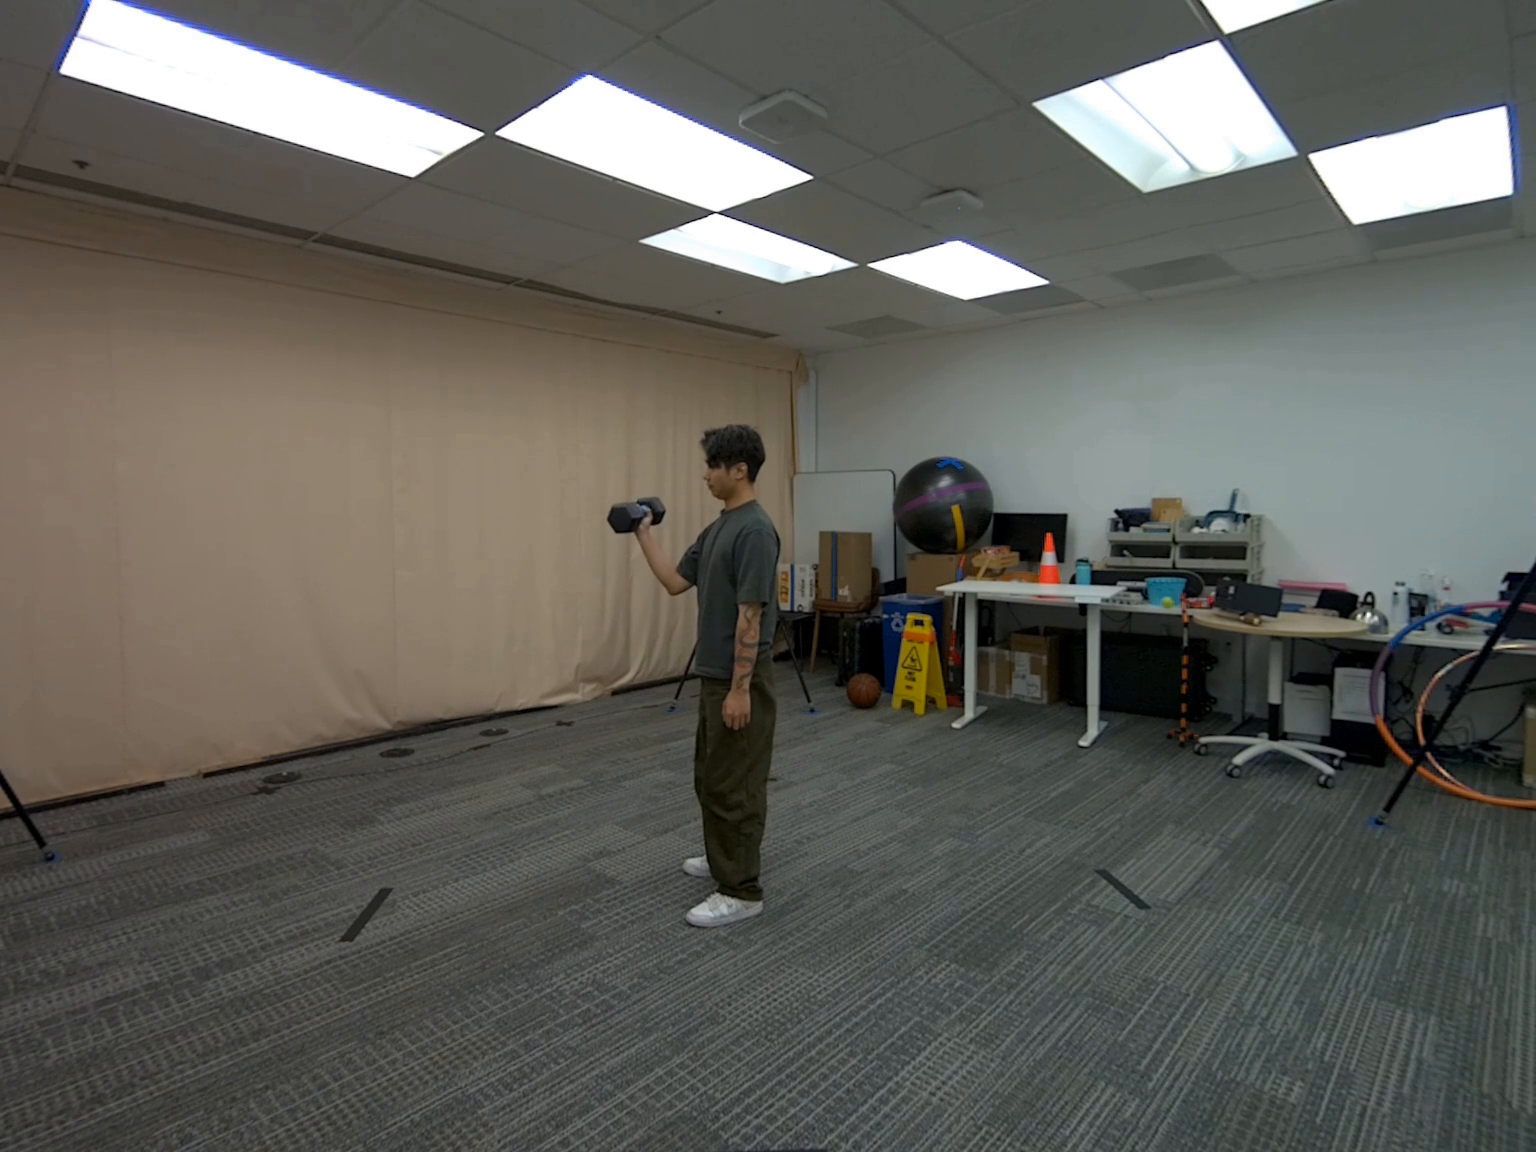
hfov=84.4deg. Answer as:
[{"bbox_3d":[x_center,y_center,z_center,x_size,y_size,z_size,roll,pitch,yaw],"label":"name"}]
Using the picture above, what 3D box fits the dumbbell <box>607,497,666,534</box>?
[{"bbox_3d":[-0.489,-0.231,3.183,0.110,0.123,0.290,30,17,10],"label":"dumbbell"}]
